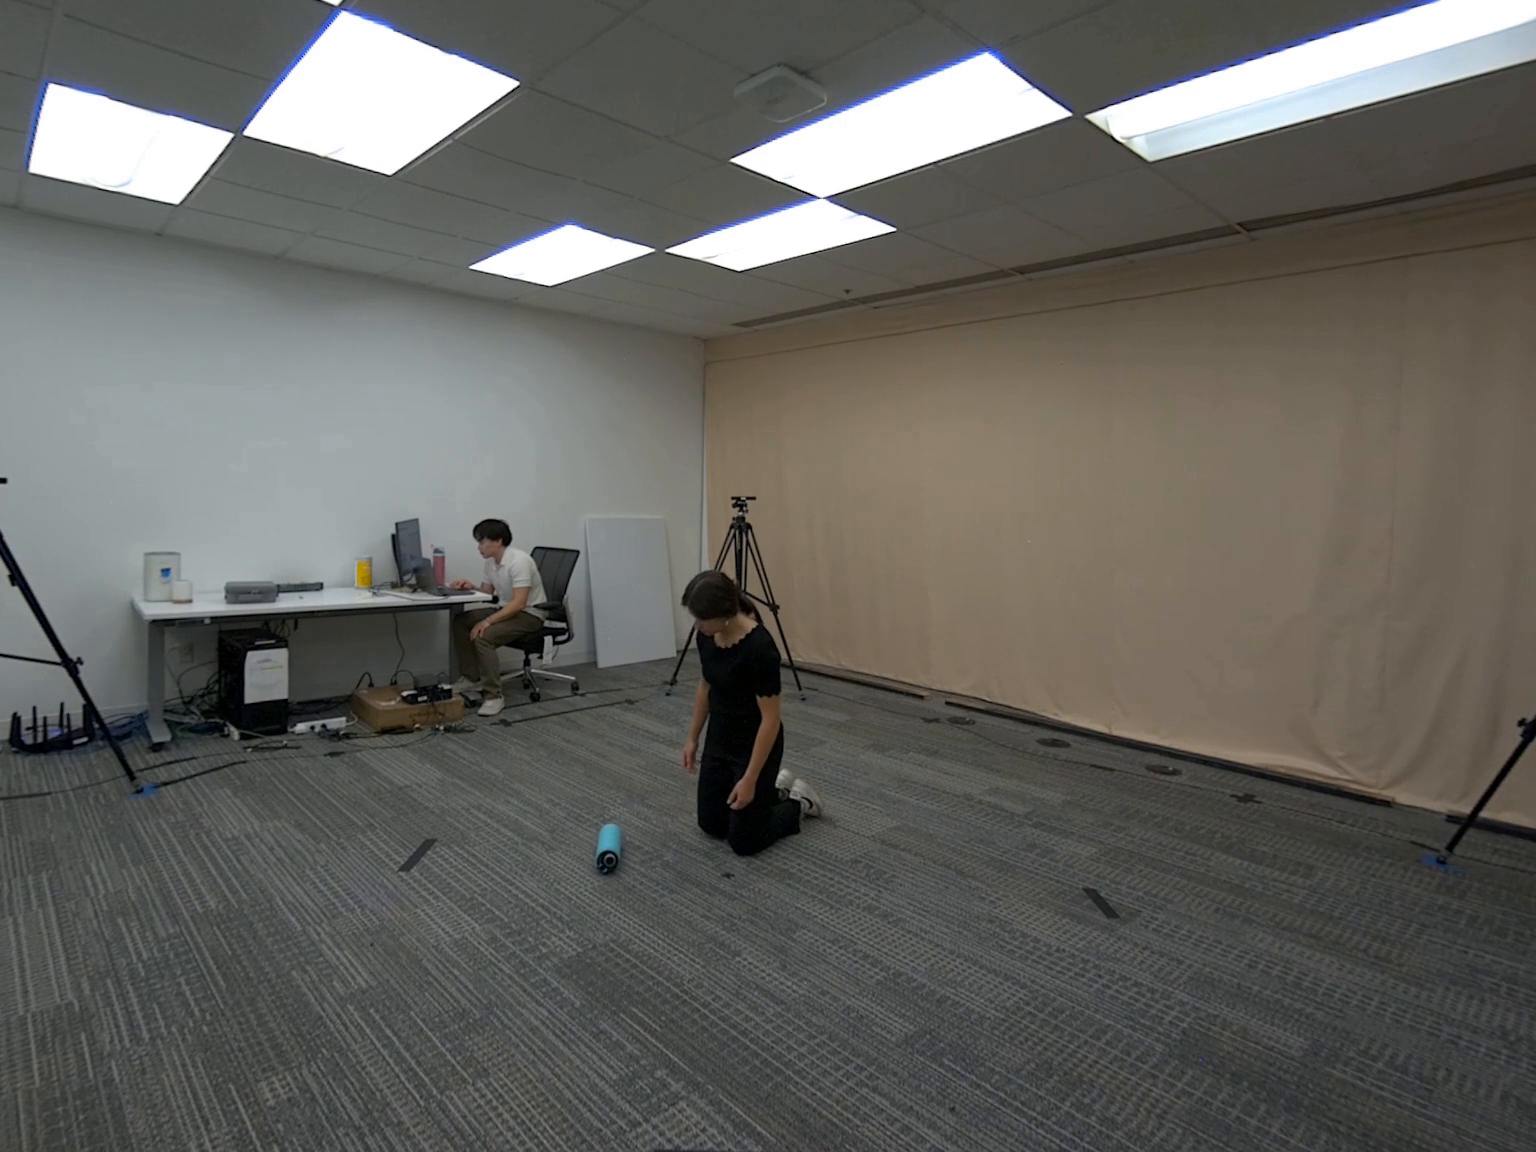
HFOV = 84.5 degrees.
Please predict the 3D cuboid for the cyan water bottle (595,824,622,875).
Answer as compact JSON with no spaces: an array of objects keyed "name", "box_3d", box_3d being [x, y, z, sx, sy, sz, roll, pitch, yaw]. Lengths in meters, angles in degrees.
[{"name":"cyan water bottle","box_3d":[-0.611,1.041,3.199,0.092,0.092,0.285,1,5,-5]}]
